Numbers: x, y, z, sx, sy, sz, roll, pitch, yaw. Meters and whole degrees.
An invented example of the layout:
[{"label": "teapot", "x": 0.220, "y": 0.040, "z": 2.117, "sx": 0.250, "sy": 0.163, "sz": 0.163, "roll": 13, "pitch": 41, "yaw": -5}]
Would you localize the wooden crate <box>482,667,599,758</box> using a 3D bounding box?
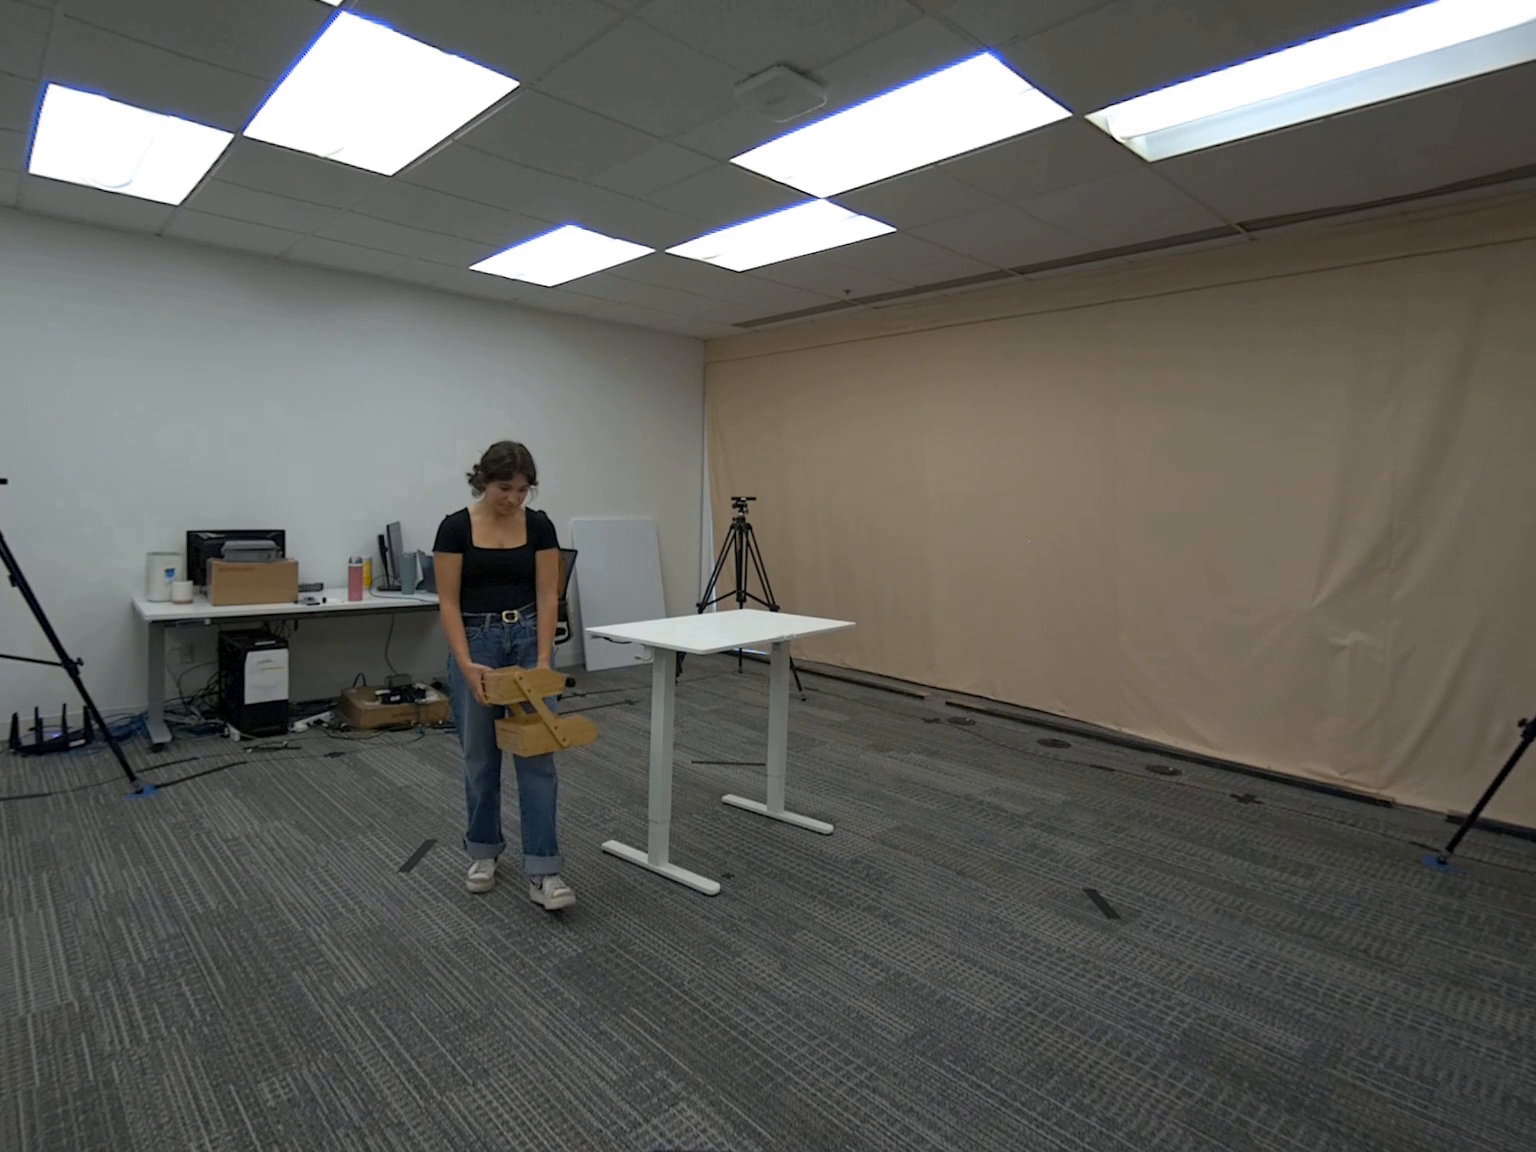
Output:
[{"label": "wooden crate", "x": -0.757, "y": 0.422, "z": 2.724, "sx": 0.296, "sy": 0.274, "sz": 0.330, "roll": -7, "pitch": -2, "yaw": -34}]
